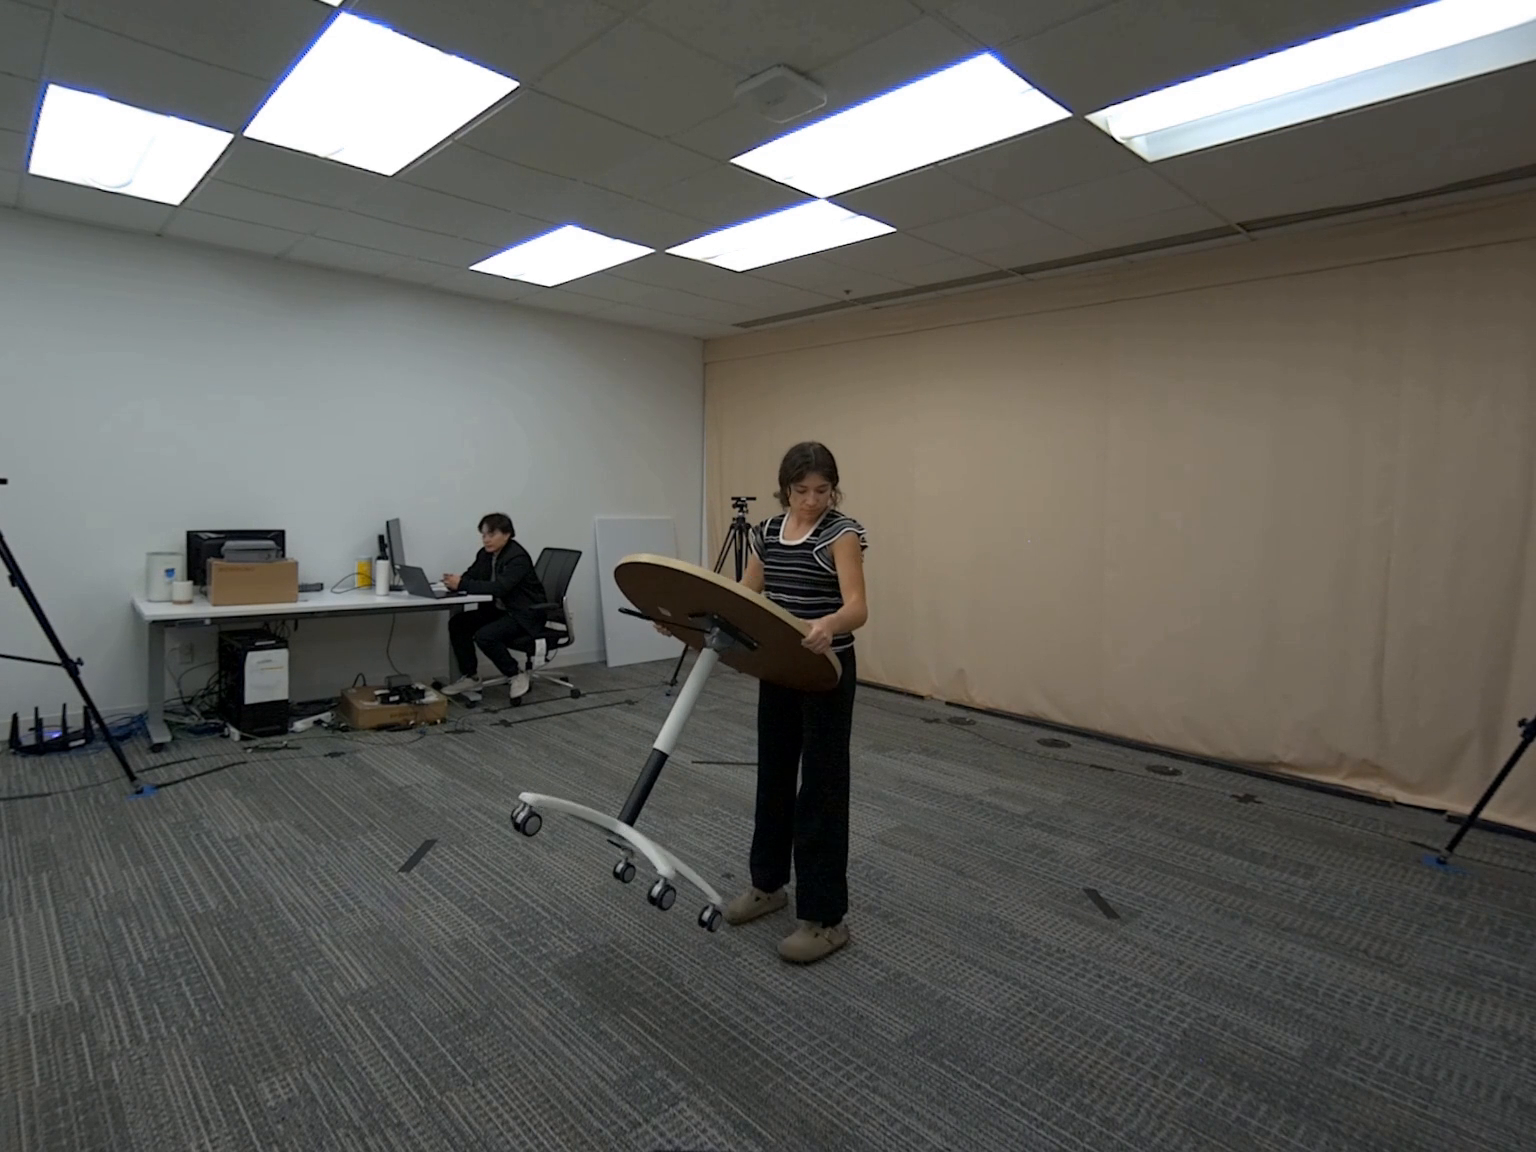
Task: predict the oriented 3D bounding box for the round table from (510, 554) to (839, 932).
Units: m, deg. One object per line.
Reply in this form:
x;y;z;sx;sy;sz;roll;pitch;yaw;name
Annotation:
-0.297;0.487;2.458;0.771;0.799;0.752;23;-21;8;round table
